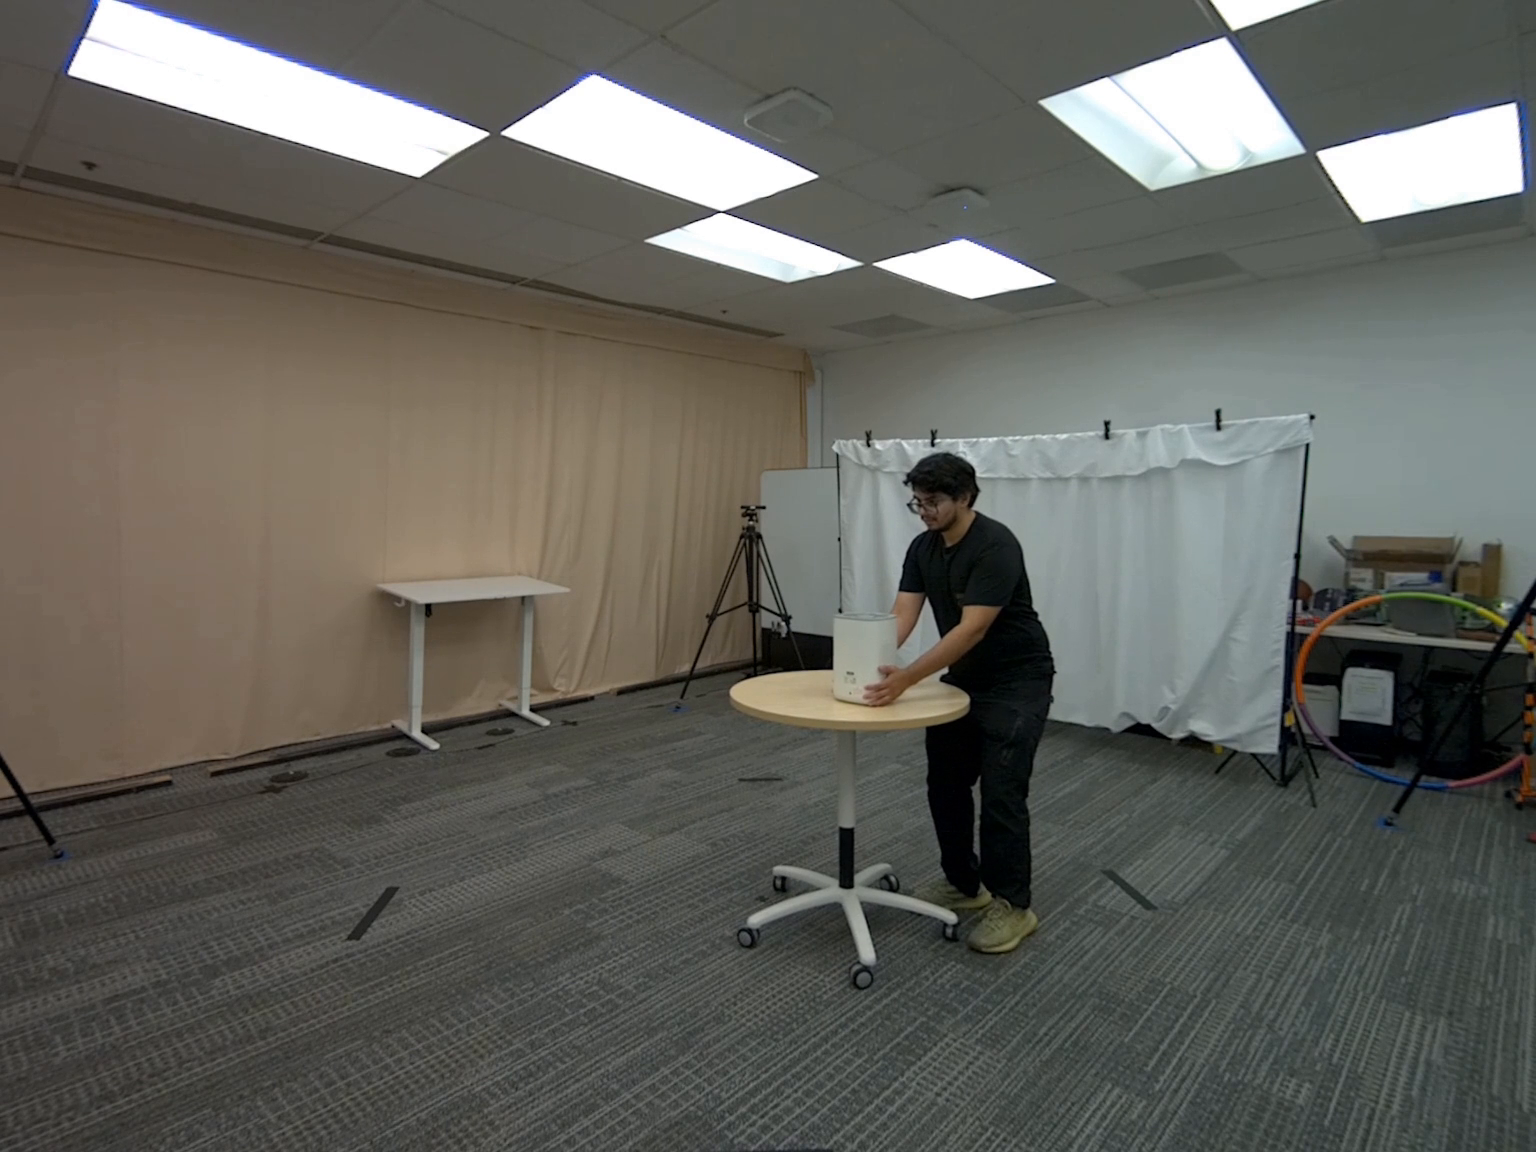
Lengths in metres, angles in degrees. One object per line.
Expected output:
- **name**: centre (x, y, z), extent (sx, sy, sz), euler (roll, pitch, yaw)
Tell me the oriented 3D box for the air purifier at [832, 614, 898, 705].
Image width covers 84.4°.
- **air purifier**: centre (0.308, 0.257, 2.628), extent (0.176, 0.264, 0.167), euler (3, 6, 35)
